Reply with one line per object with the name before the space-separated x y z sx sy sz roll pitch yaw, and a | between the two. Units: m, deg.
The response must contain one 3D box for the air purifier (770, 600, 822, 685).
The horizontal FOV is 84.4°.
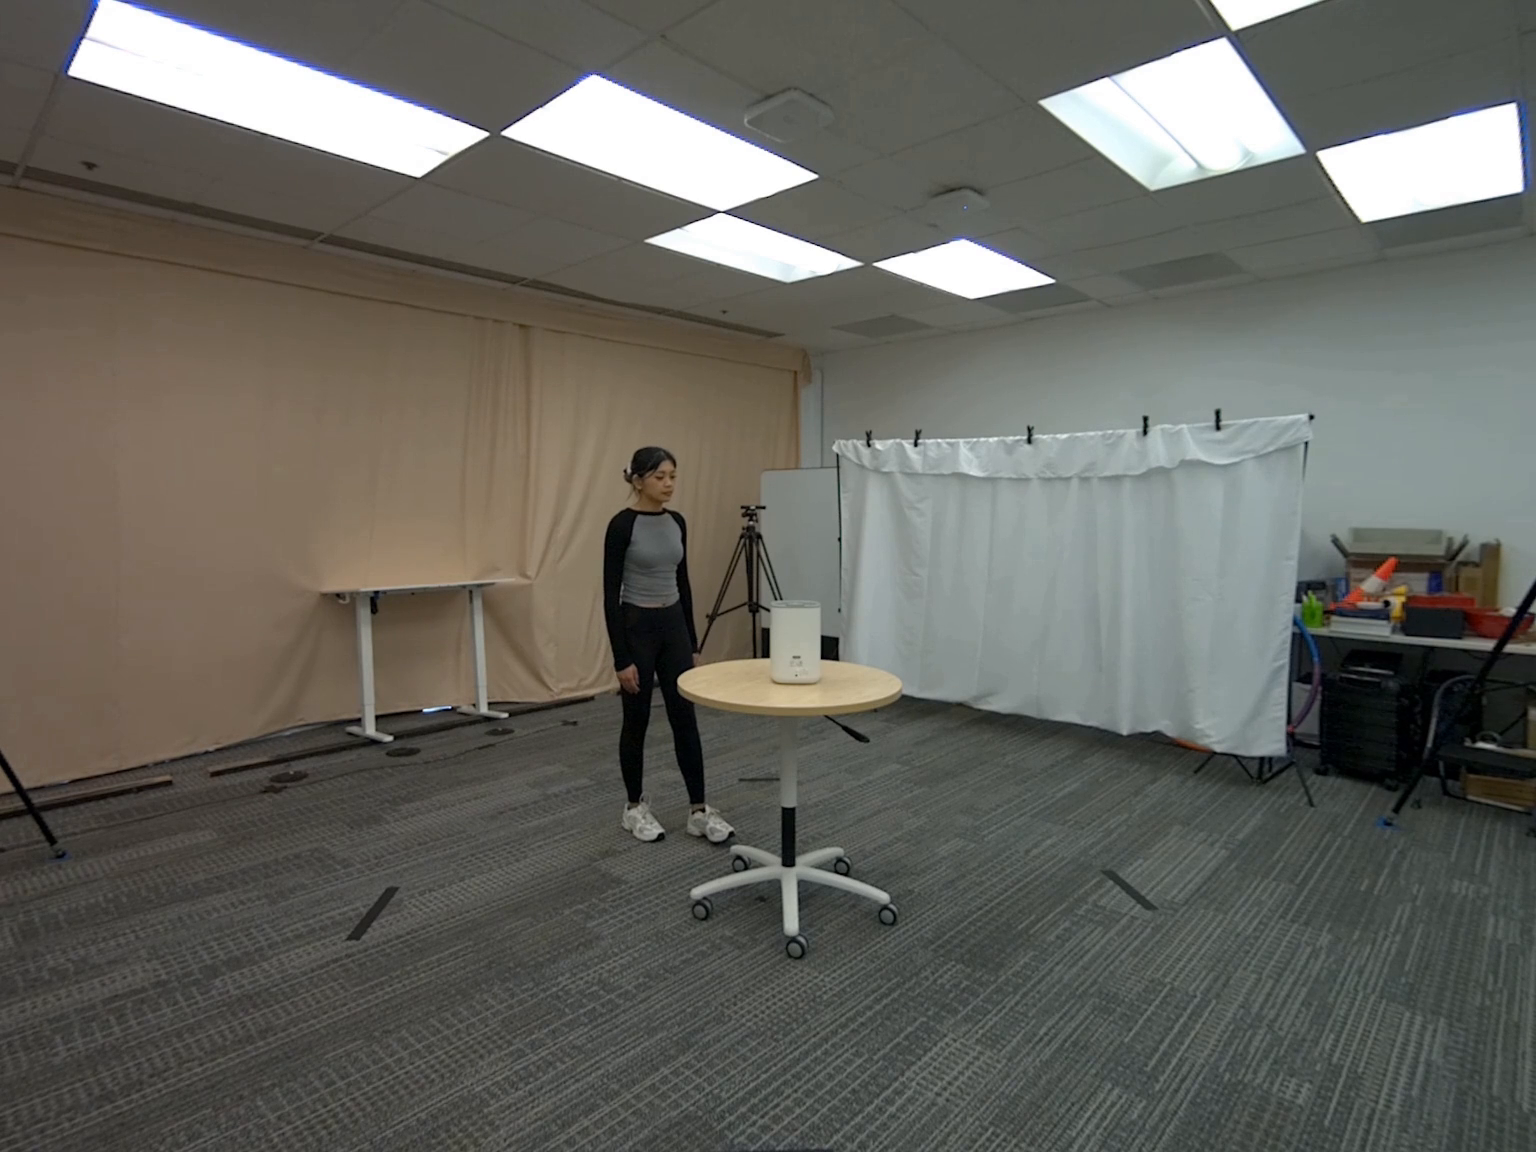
air purifier | 0.101 0.227 2.879 0.170 0.265 0.172 1 3 -4
